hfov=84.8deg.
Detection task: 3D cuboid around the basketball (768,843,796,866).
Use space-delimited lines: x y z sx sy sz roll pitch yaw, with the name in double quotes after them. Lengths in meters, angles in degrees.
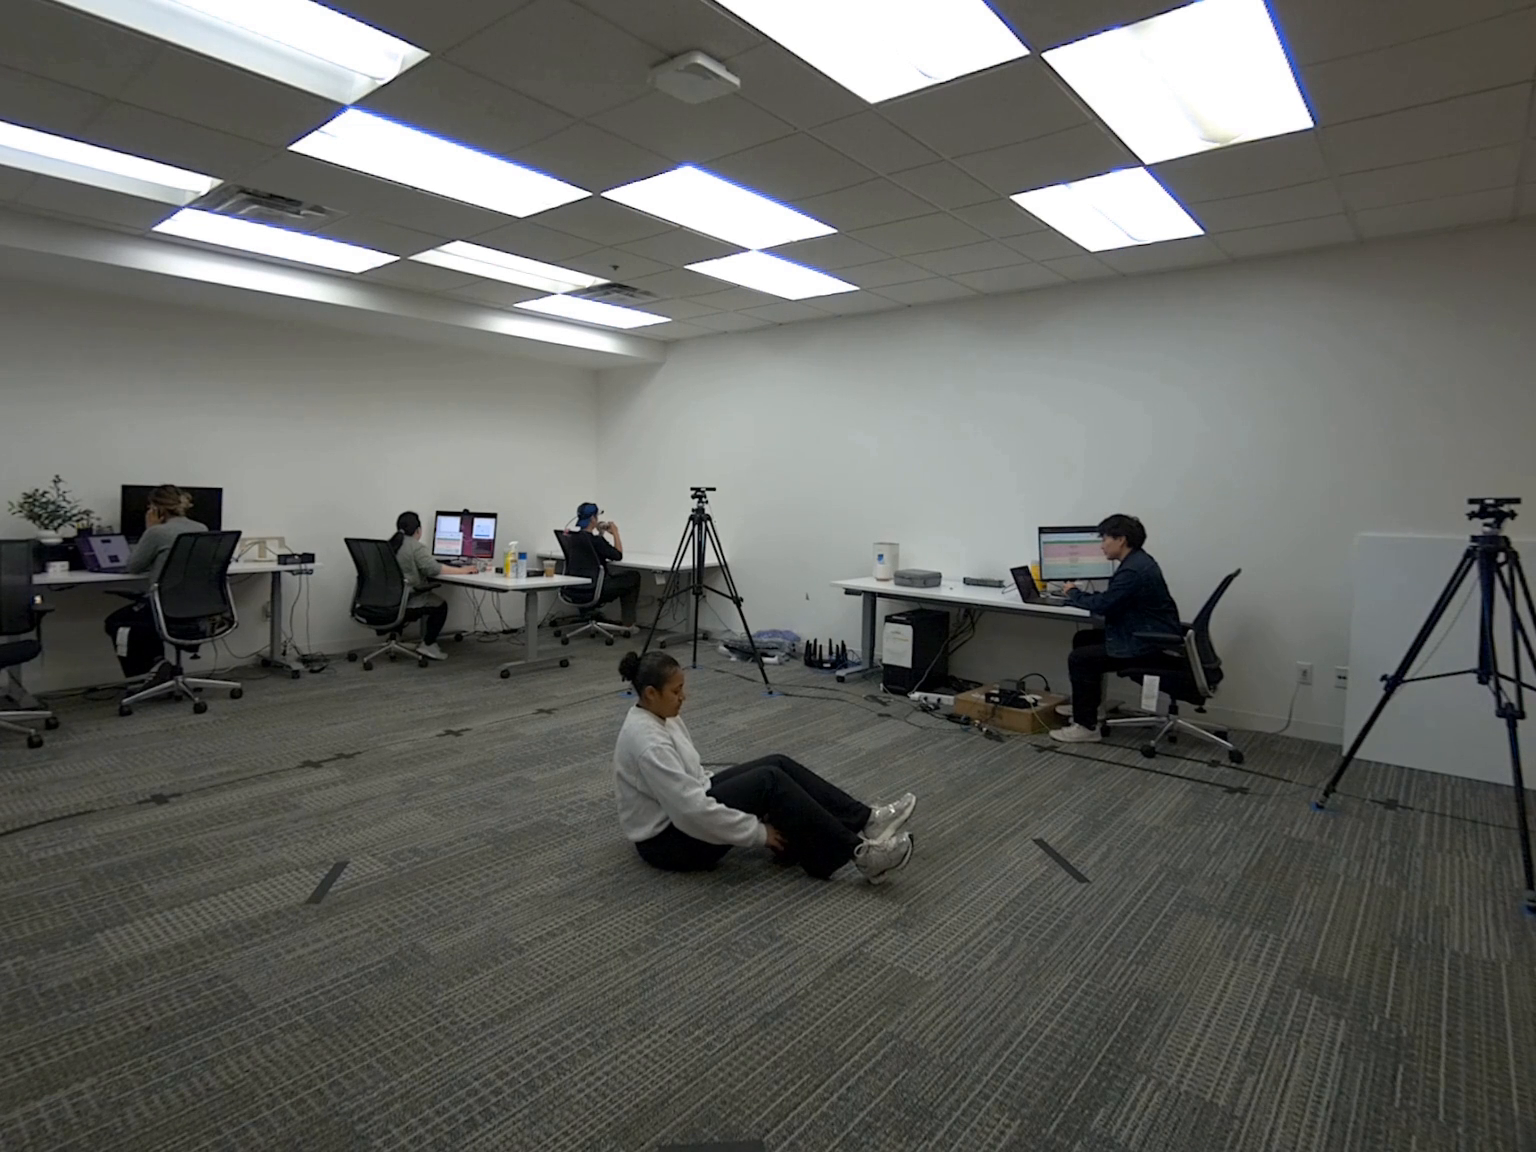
0.081 0.936 3.217 0.235 0.235 0.237 1 4 -2 "basketball"
